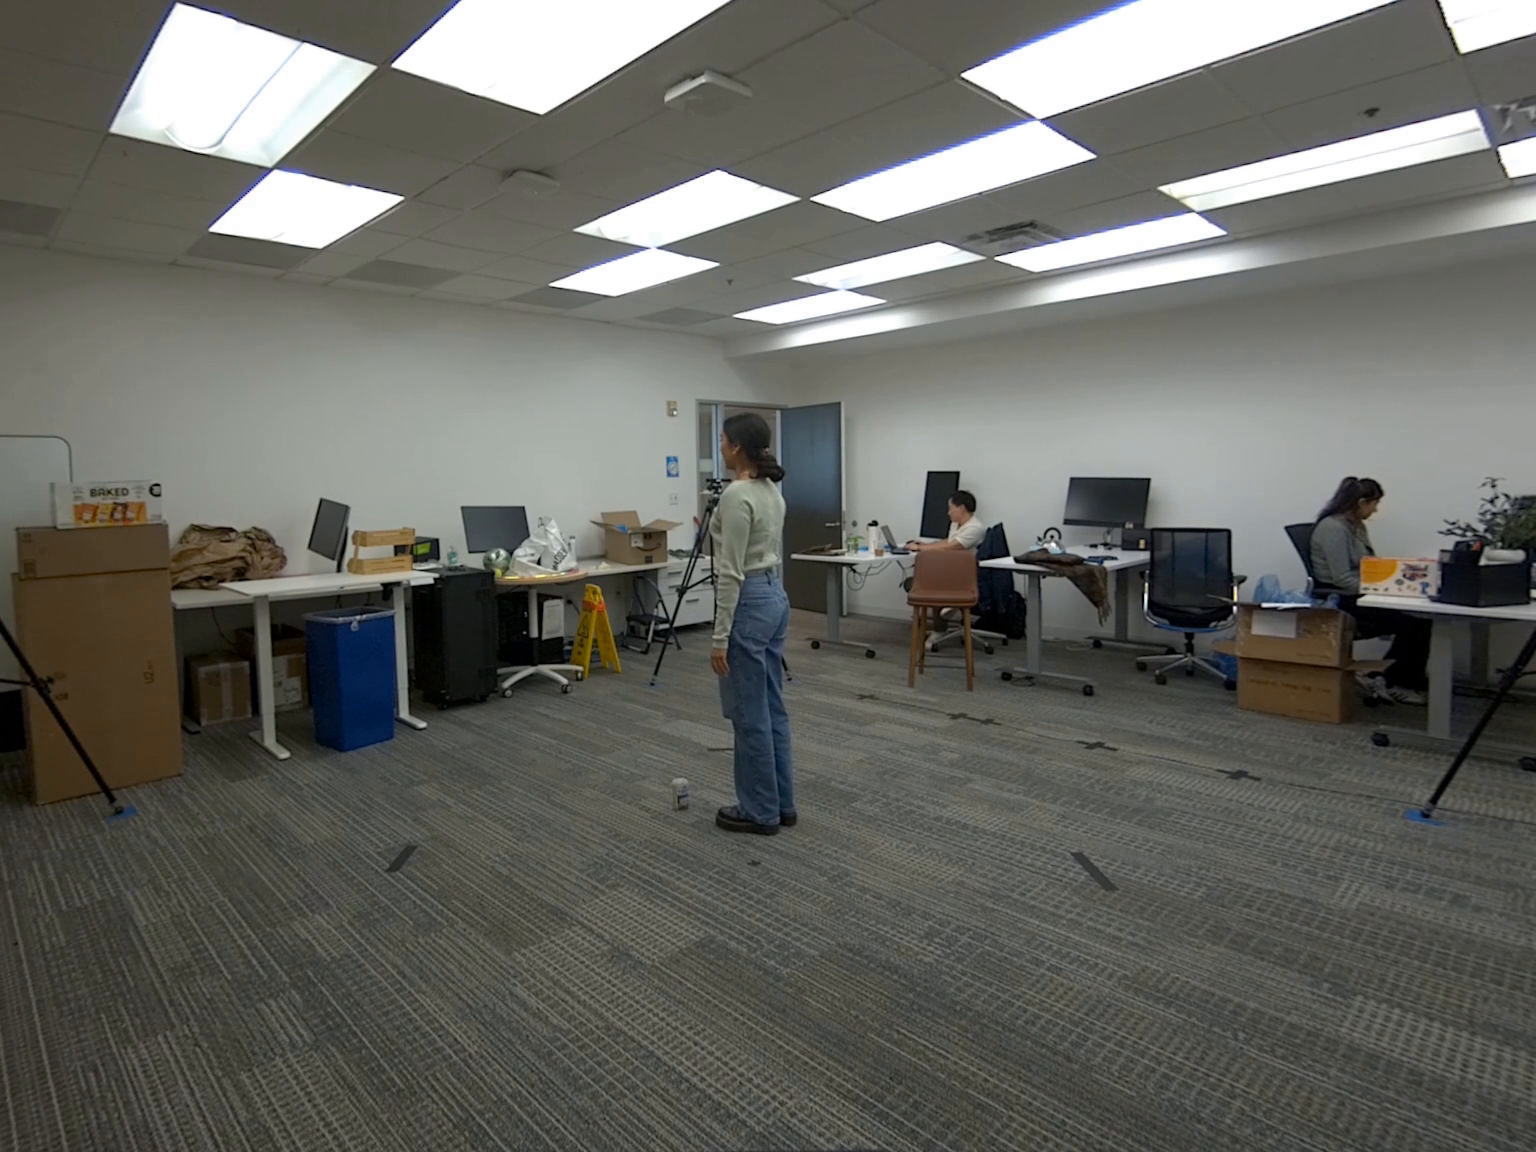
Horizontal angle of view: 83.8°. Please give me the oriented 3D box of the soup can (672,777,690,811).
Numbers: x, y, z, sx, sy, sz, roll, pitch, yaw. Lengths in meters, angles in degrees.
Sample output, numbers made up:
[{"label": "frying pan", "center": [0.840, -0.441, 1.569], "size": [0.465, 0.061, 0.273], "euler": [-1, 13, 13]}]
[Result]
[{"label": "soup can", "center": [-0.369, 0.930, 3.648], "size": [0.067, 0.121, 0.067], "euler": [-4, 1, -2]}]
